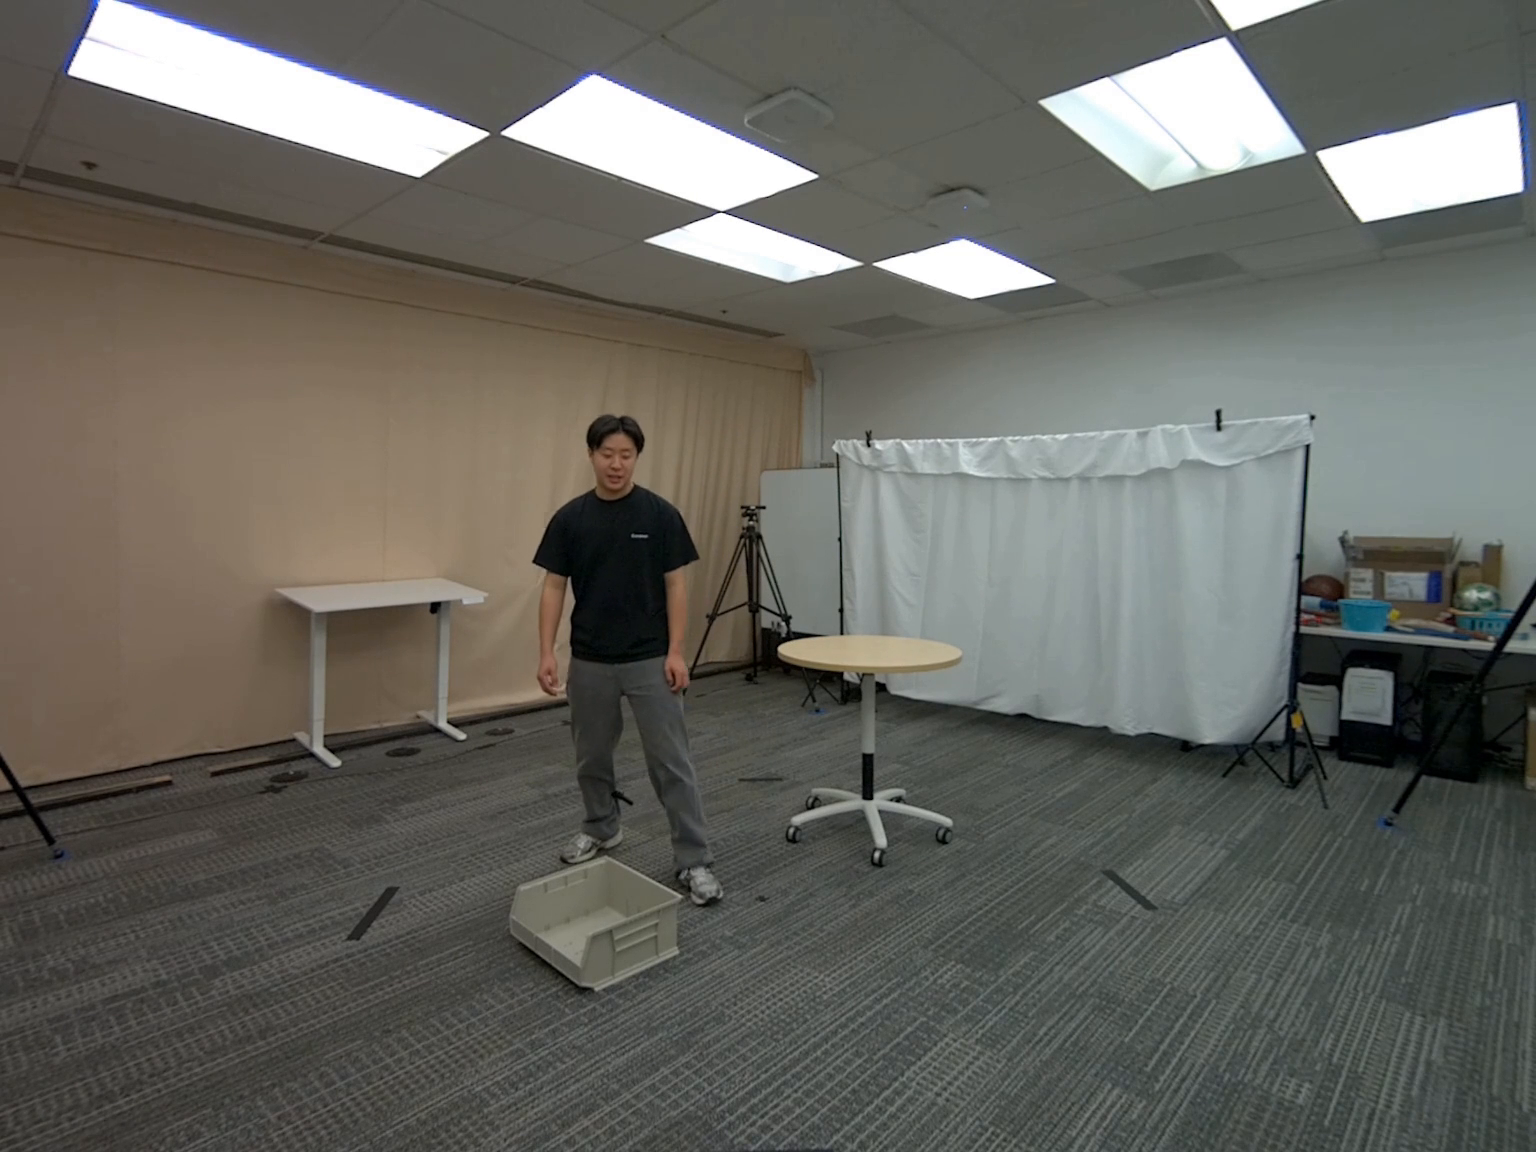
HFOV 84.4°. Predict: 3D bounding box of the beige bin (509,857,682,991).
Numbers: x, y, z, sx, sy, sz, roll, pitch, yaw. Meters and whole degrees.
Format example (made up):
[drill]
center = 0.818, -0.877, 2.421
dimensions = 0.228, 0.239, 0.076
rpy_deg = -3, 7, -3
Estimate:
[beige bin]
center = -0.541, 1.086, 2.651
dimensions = 0.366, 0.188, 0.436
rpy_deg = -3, 5, -44
